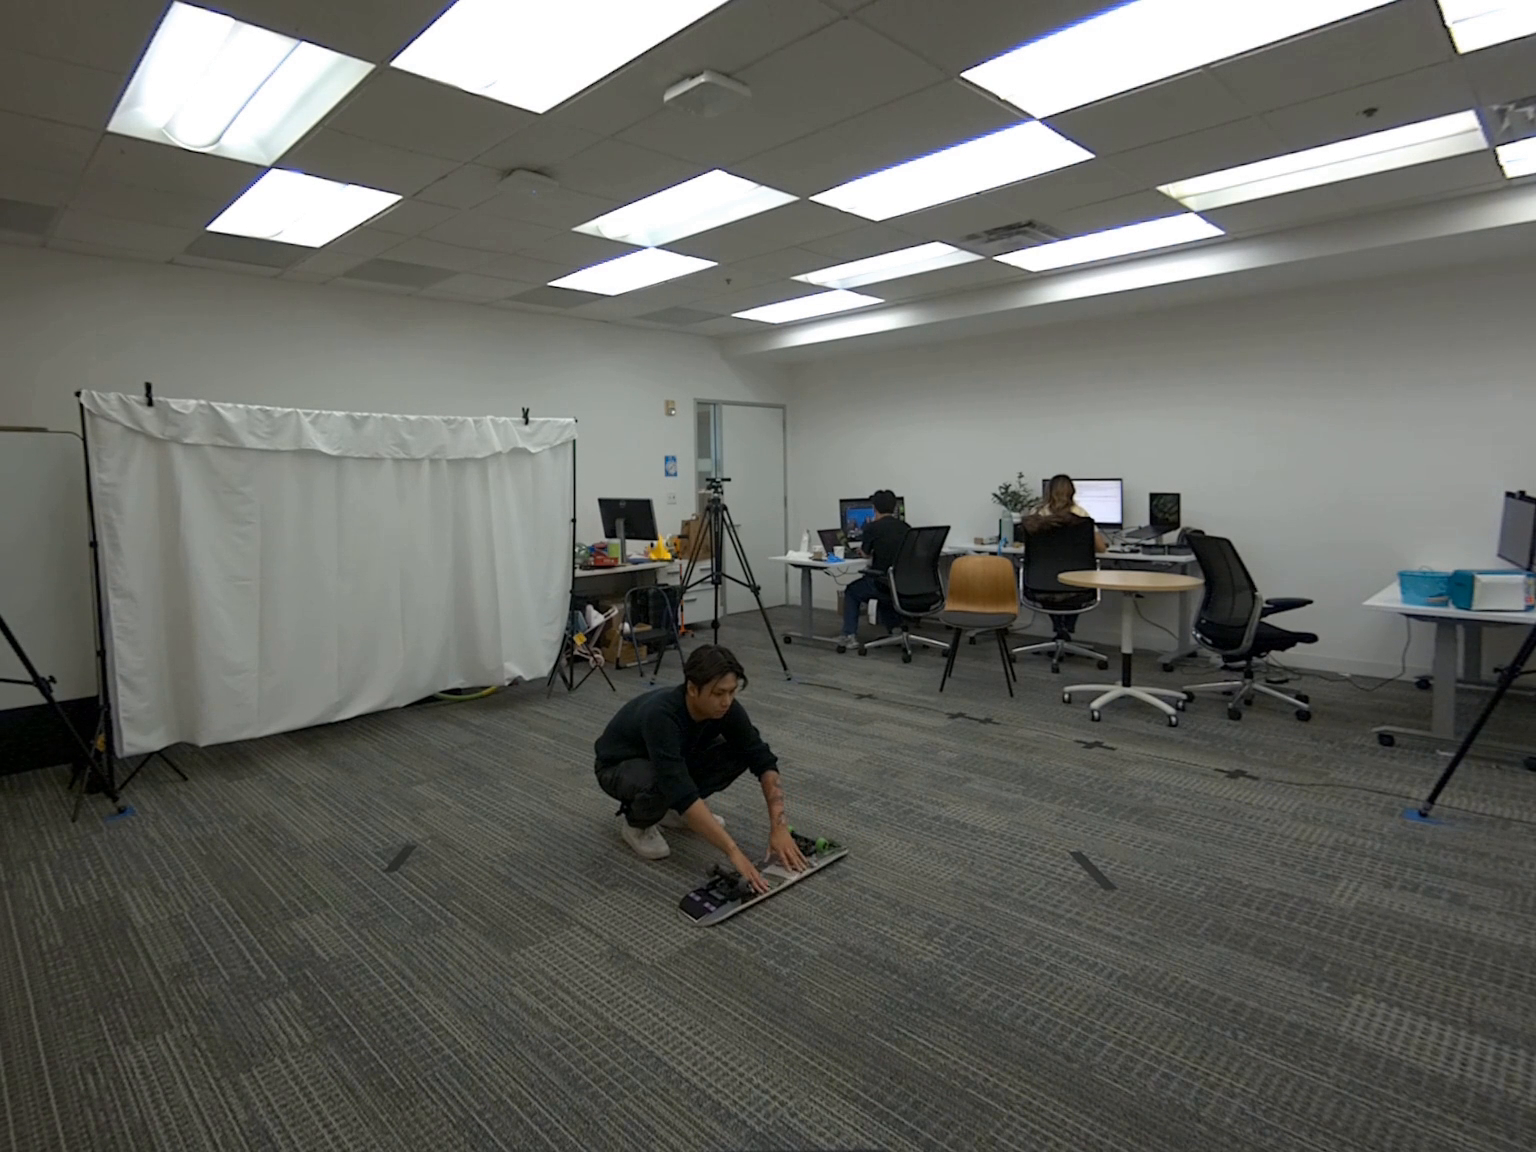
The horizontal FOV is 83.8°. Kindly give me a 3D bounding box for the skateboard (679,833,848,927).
[{"bbox_3d":[0.008,1.011,2.965,0.200,0.110,0.765,7,10,44],"label":"skateboard"}]
